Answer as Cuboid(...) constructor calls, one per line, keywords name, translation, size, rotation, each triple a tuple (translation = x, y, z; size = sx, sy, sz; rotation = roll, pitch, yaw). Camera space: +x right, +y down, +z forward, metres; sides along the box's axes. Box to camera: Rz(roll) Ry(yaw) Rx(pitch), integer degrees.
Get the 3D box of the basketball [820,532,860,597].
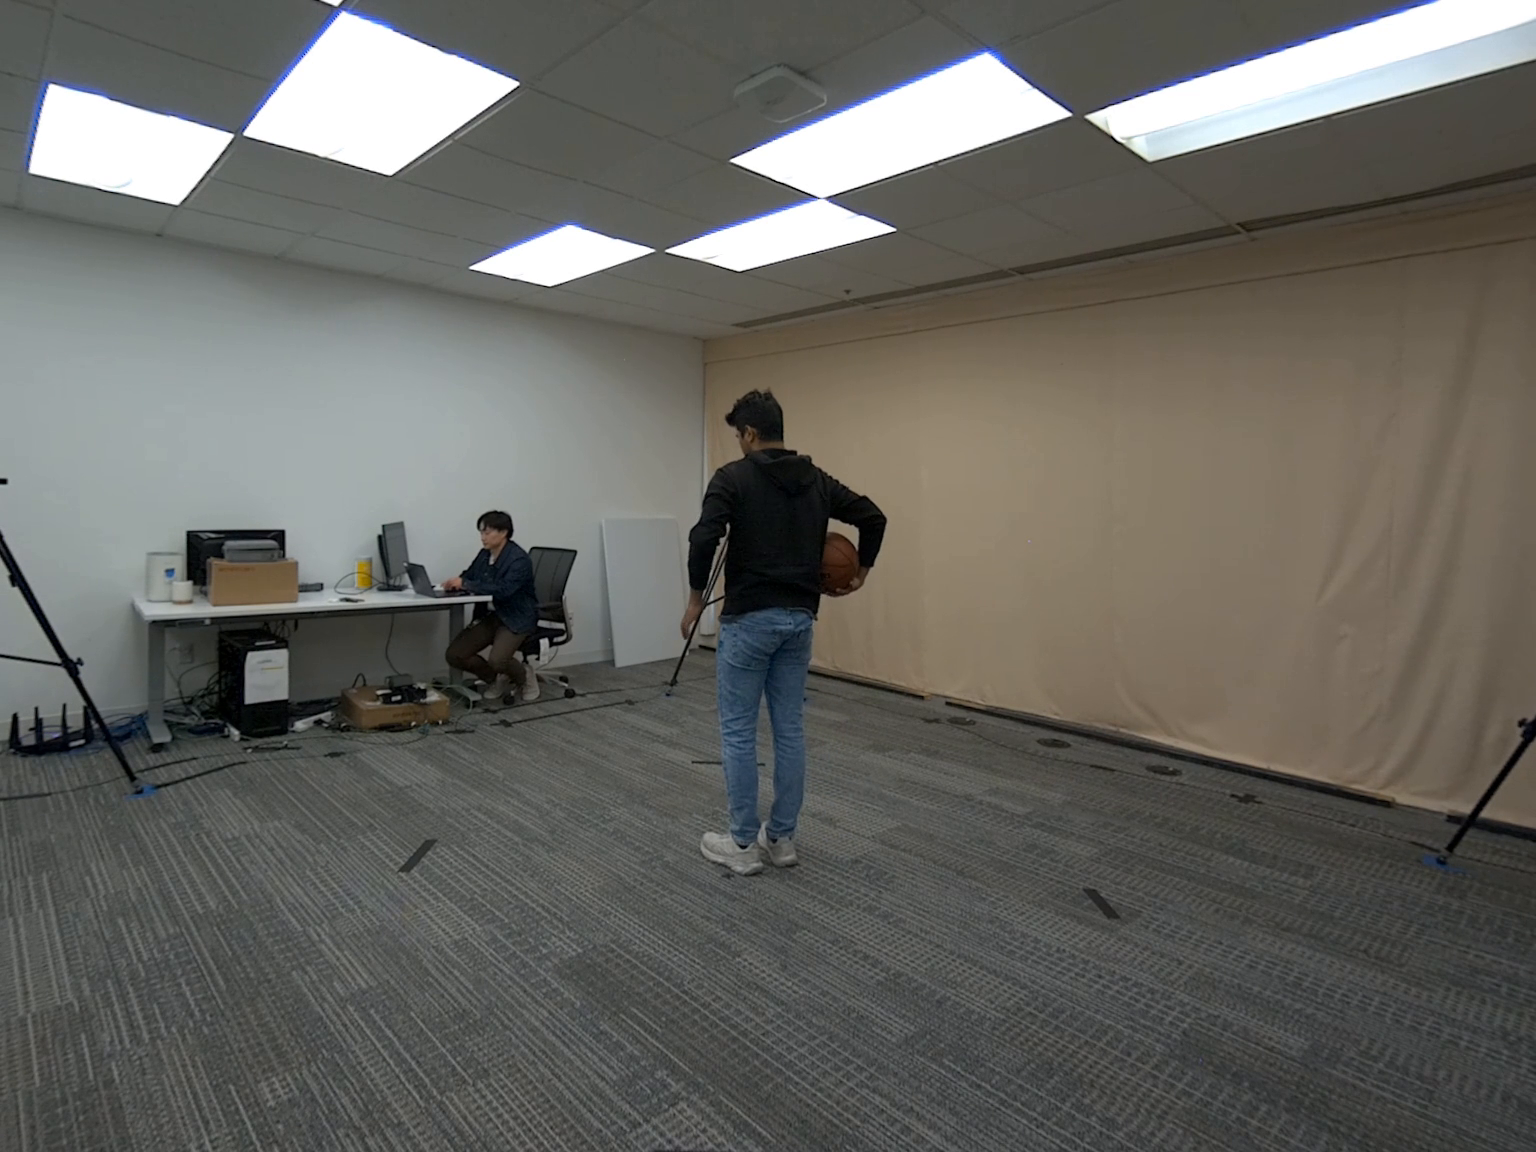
Cuboid(name="basketball", translation=(0.234, -0.055, 3.321), size=(0.236, 0.235, 0.237), rotation=(1, 4, -1))
